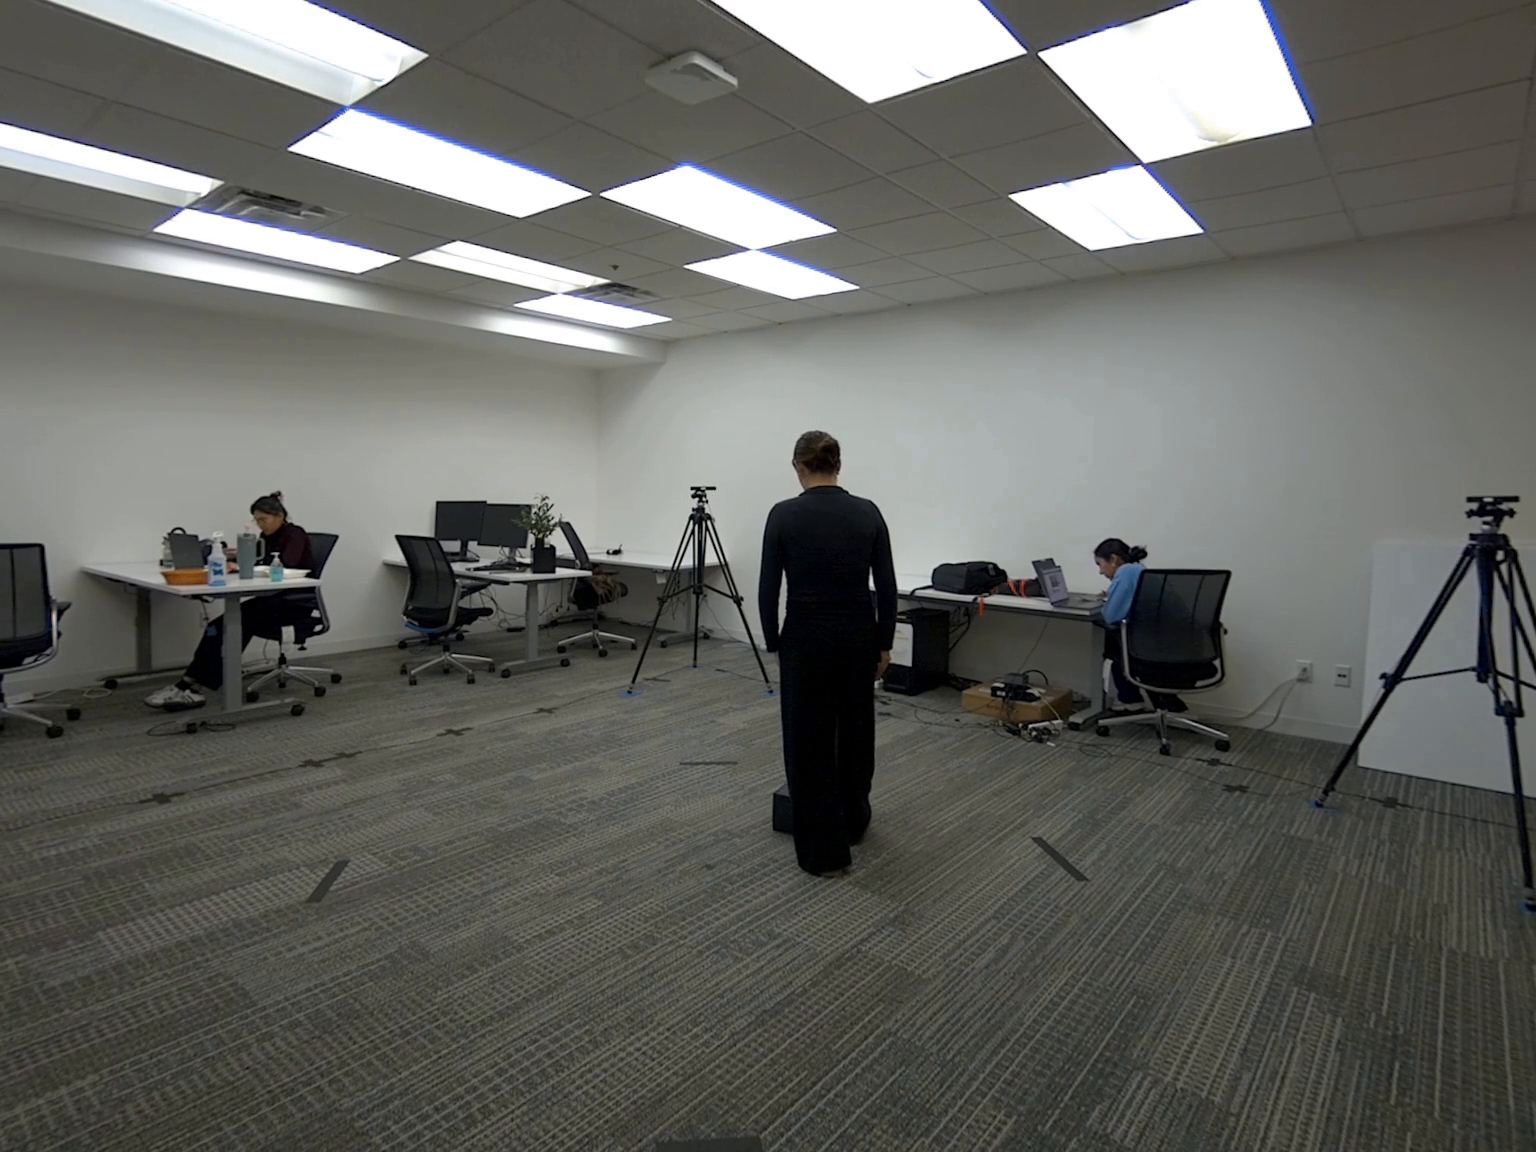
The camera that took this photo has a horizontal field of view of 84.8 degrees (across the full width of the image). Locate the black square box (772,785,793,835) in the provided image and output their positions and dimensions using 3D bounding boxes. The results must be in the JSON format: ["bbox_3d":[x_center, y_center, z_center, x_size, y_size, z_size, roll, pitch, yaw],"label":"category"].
[{"bbox_3d":[0.152,0.947,3.502,0.234,0.155,0.212,4,5,25],"label":"black square box"}]
